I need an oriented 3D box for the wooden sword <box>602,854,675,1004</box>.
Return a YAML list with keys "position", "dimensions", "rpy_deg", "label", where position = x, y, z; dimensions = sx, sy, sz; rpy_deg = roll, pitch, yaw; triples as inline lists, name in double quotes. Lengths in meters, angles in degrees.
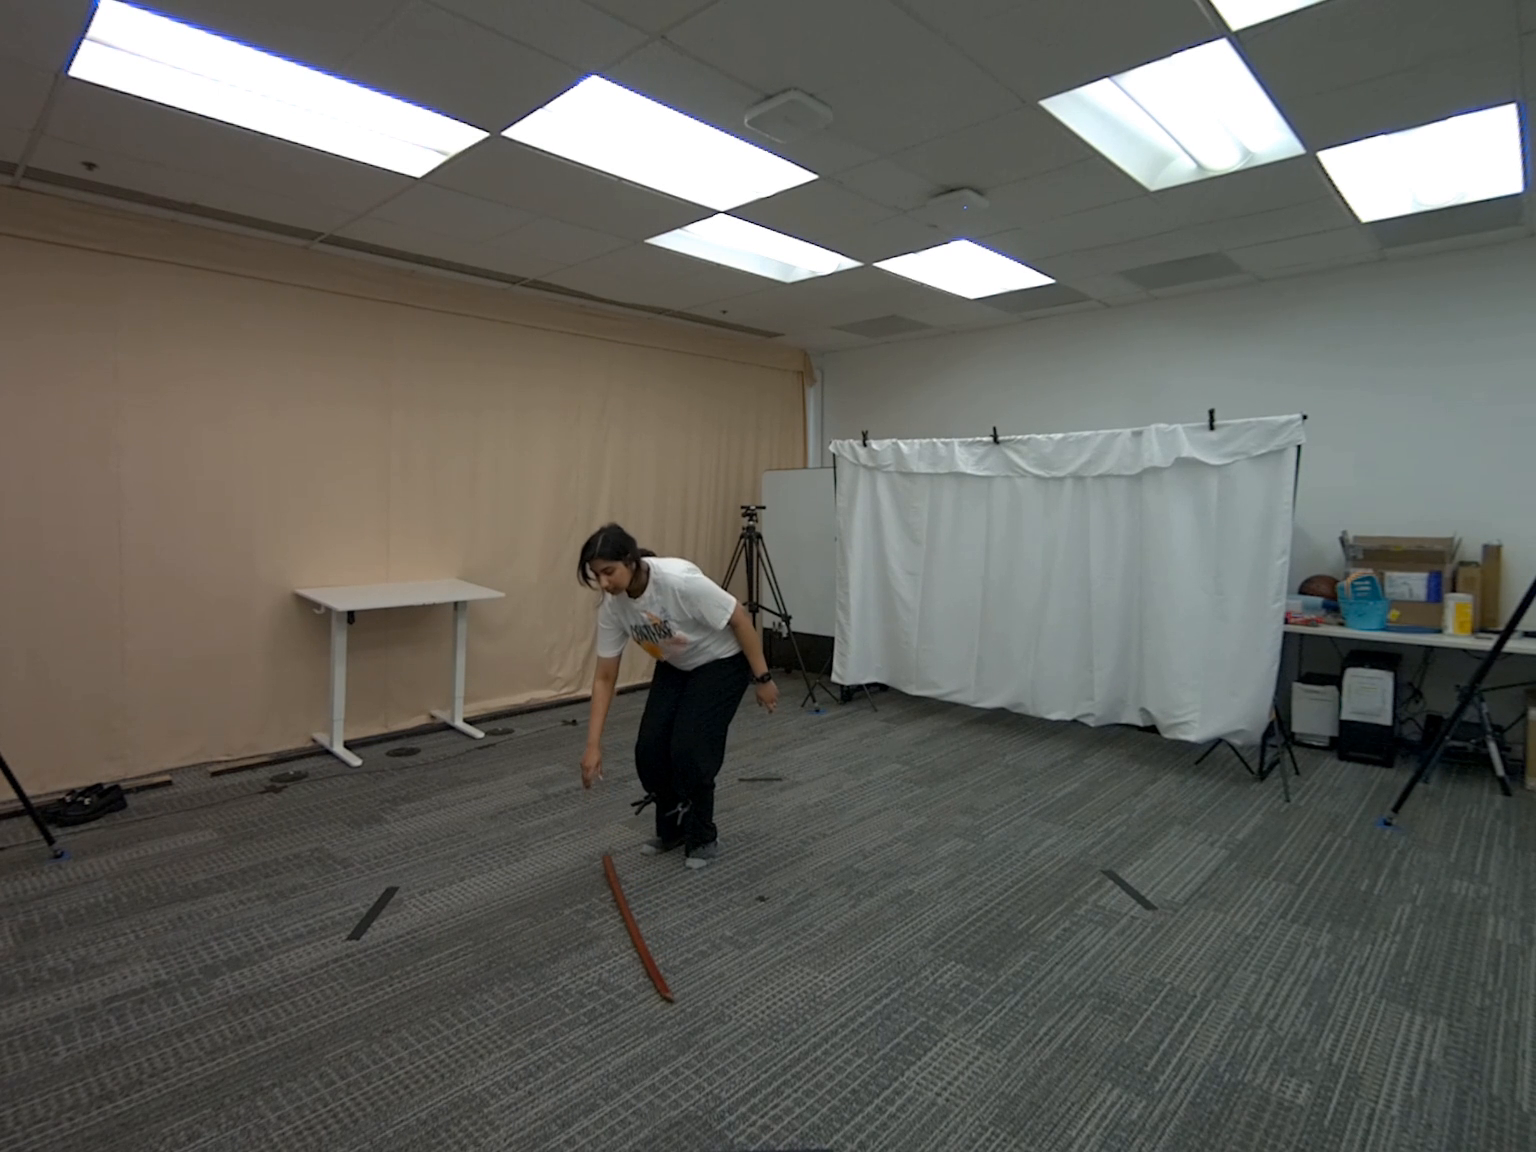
- position: [-0.461, 1.132, 2.831]
  dimensions: [0.024, 0.050, 1.046]
  rpy_deg: [-41, 16, -13]
  label: "wooden sword"
